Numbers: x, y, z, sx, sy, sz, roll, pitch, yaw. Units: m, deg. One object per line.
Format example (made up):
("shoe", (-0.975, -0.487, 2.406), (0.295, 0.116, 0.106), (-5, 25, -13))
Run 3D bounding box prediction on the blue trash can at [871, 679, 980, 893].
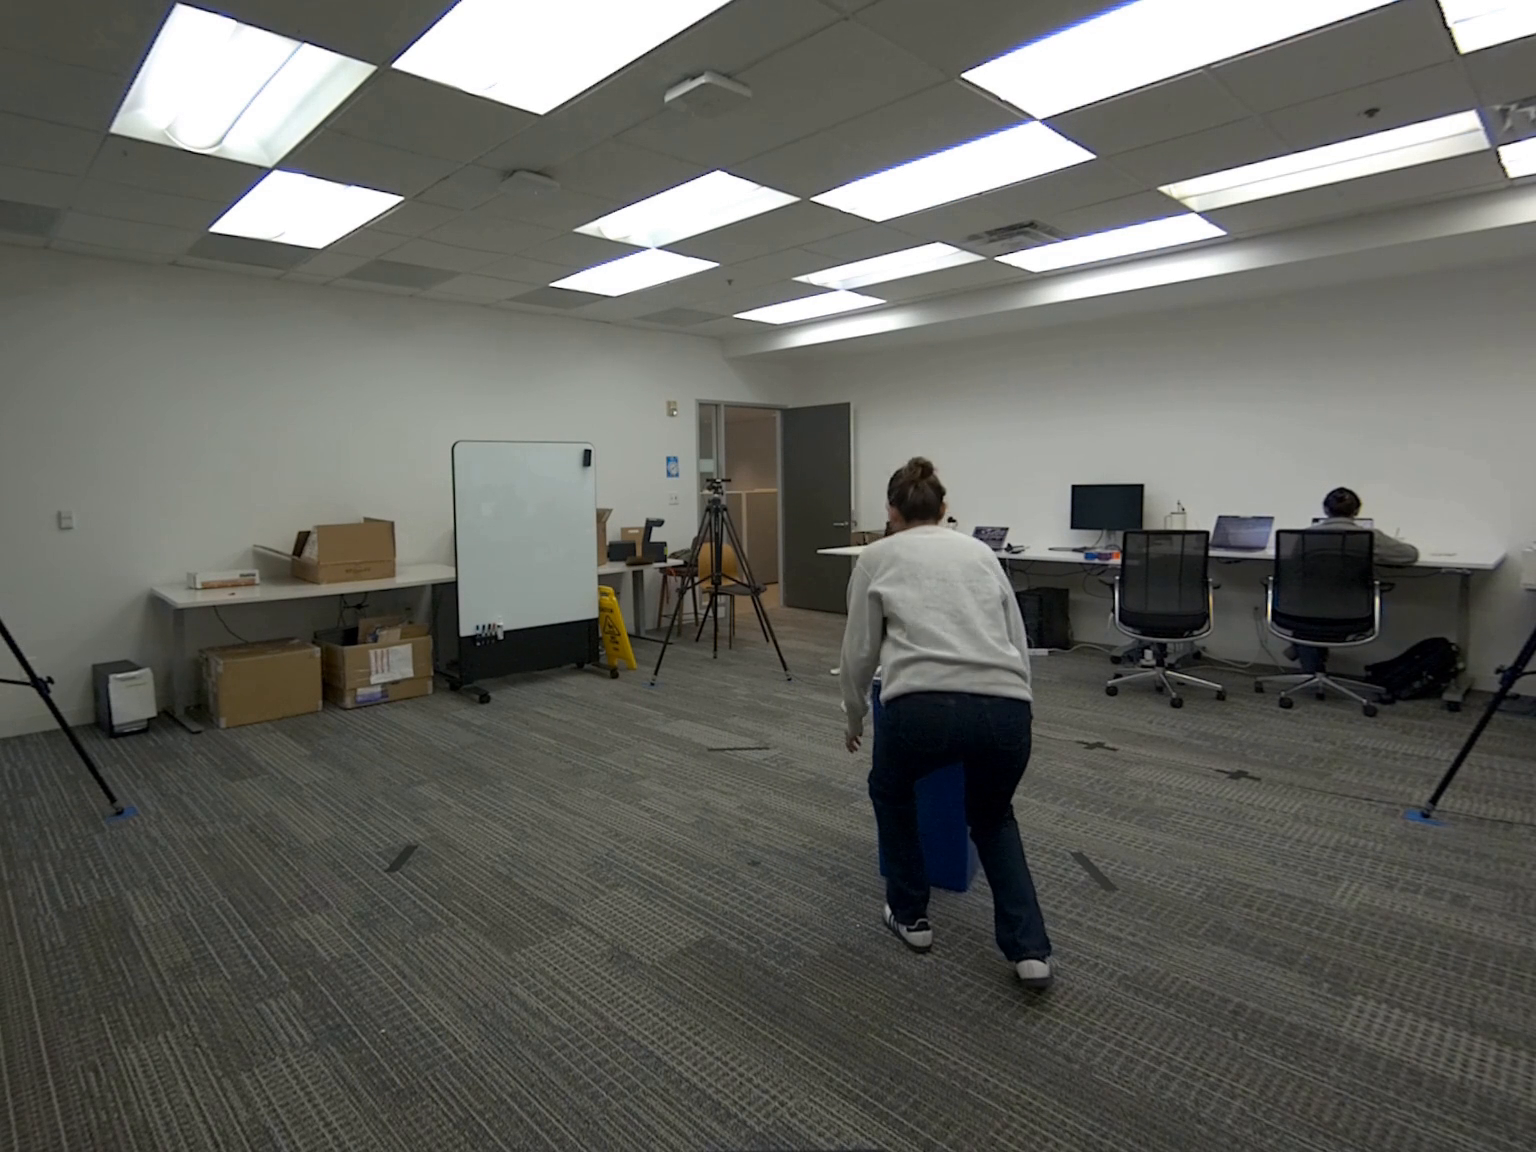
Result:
("blue trash can", (0.586, 0.686, 3.024), (0.387, 0.711, 0.366), (1, 4, 26))
